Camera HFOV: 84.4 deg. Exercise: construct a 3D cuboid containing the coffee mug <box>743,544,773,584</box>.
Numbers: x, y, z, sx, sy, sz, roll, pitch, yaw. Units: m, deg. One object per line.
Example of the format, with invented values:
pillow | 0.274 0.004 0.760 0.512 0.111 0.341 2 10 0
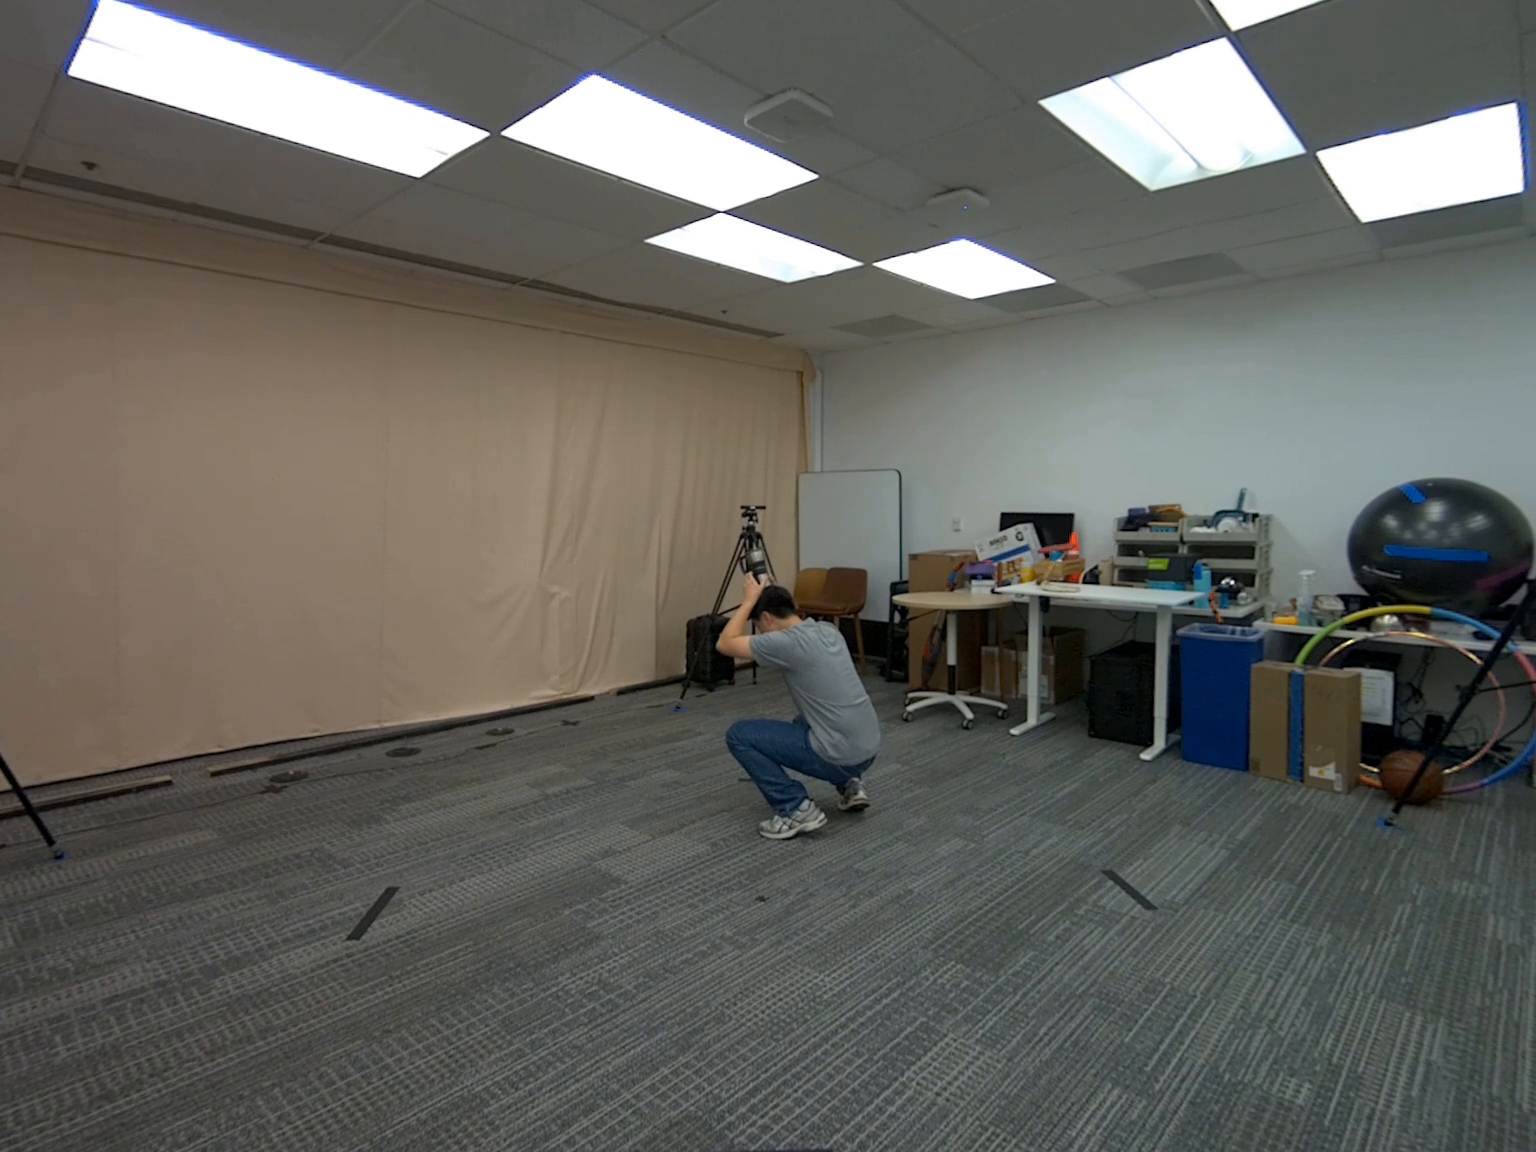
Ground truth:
coffee mug | -0.065 -0.025 3.880 0.125 0.204 0.085 -19 -7 36
